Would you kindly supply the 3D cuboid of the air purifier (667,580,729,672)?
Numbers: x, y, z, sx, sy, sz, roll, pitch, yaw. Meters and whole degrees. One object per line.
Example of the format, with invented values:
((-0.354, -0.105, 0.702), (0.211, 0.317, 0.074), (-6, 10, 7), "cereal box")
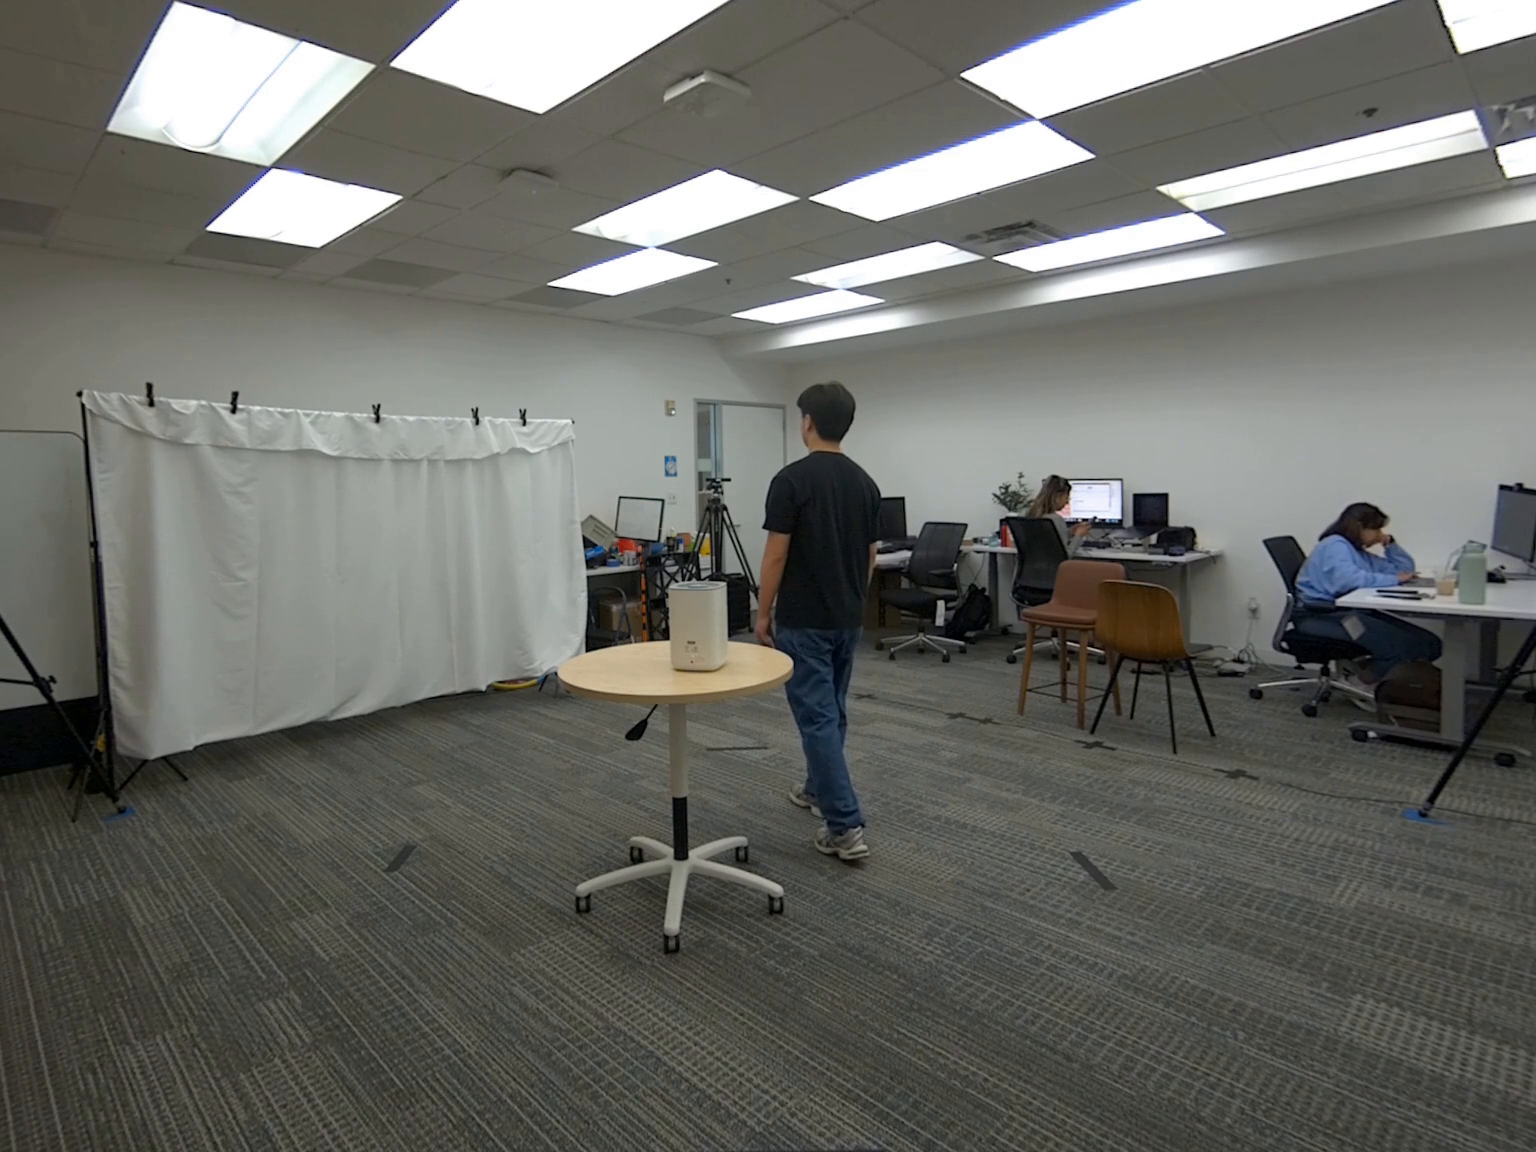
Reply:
((-0.215, 0.161, 2.736), (0.173, 0.265, 0.170), (-1, 3, 12), "air purifier")
